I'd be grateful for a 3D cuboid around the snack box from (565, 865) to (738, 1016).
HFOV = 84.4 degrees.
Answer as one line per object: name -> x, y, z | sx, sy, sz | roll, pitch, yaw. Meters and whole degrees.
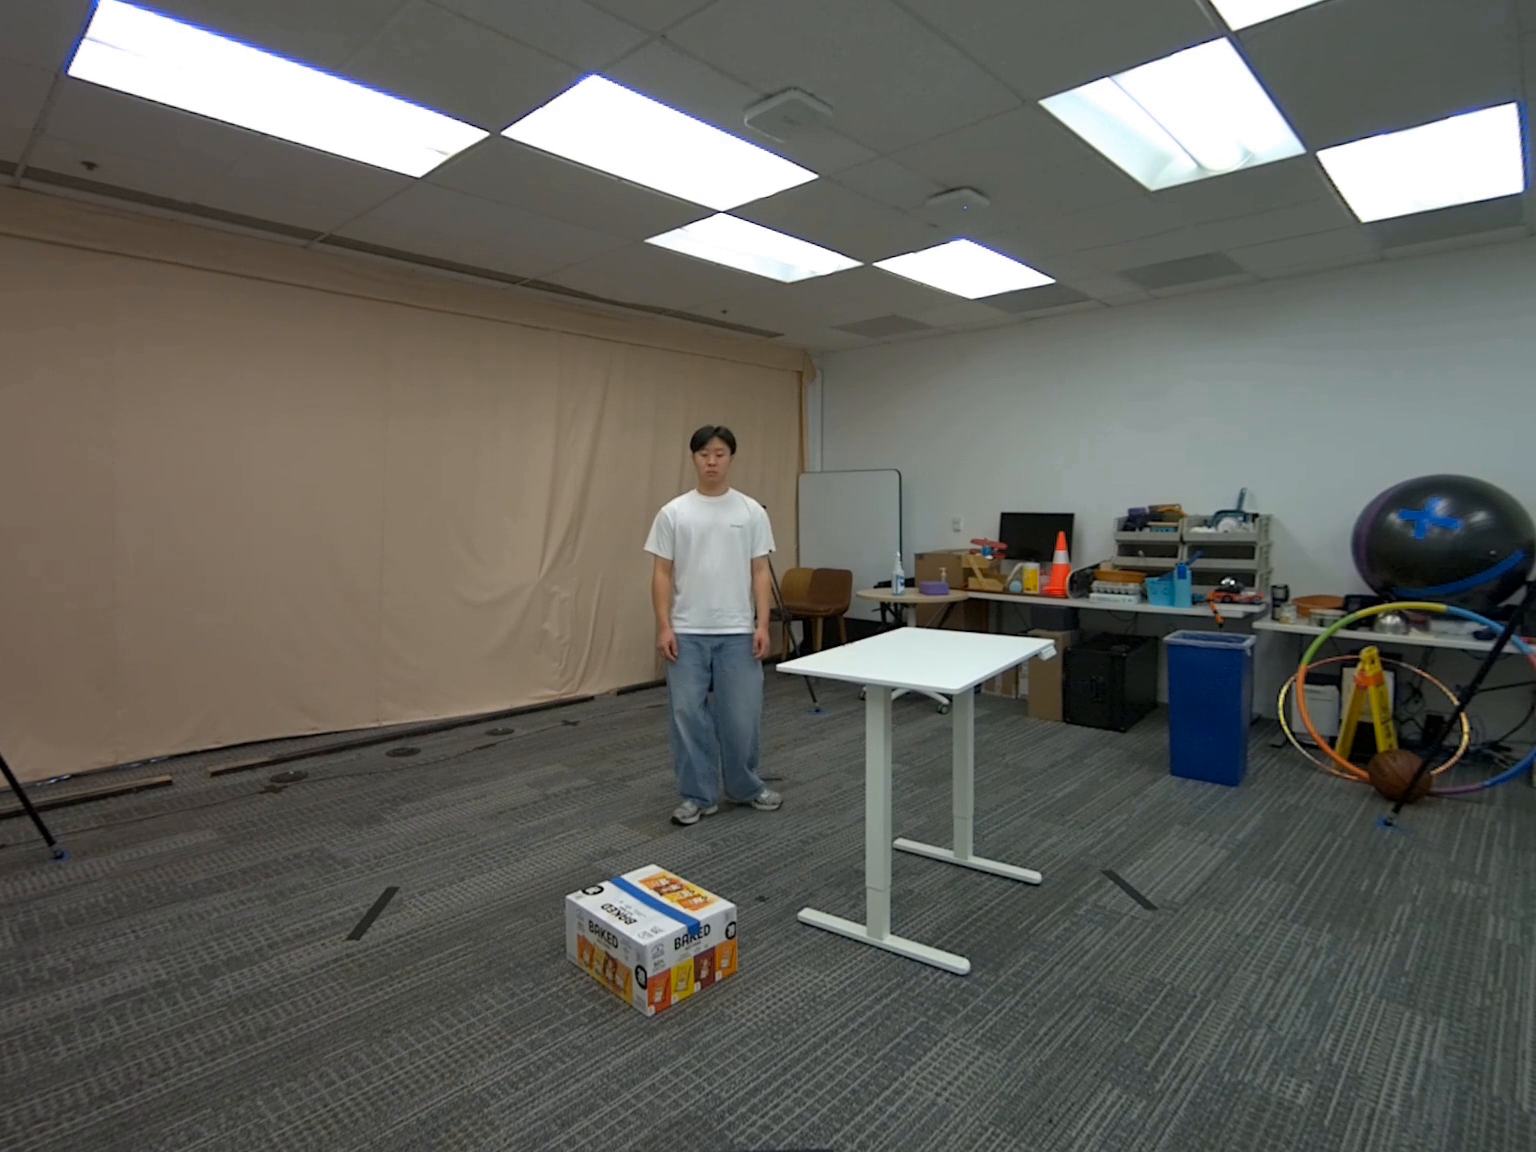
snack box -> -0.355, 1.075, 2.547 | 0.330, 0.205, 0.419 | -4, 6, -44
